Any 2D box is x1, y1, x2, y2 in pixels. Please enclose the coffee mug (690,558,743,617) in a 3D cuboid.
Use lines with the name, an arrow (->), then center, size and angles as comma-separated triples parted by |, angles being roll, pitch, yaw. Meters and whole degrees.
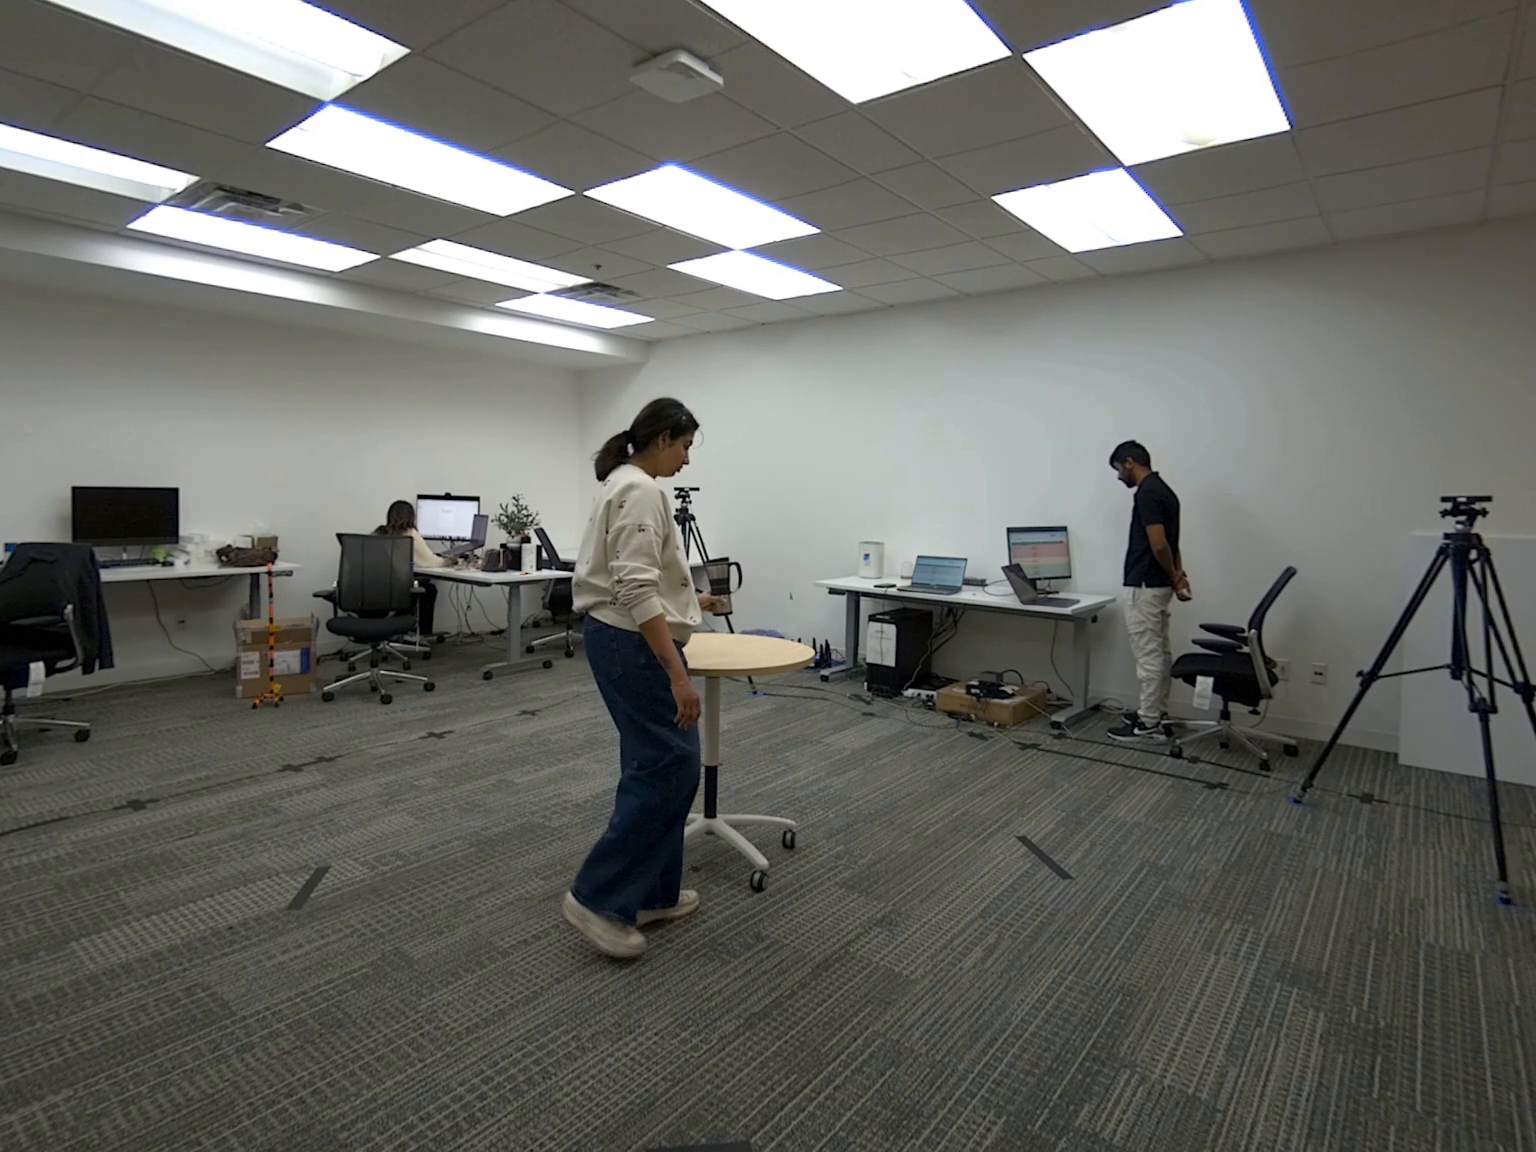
coffee mug -> -0.162, 0.040, 2.995 | 0.124, 0.203, 0.086 | -7, -2, 21
